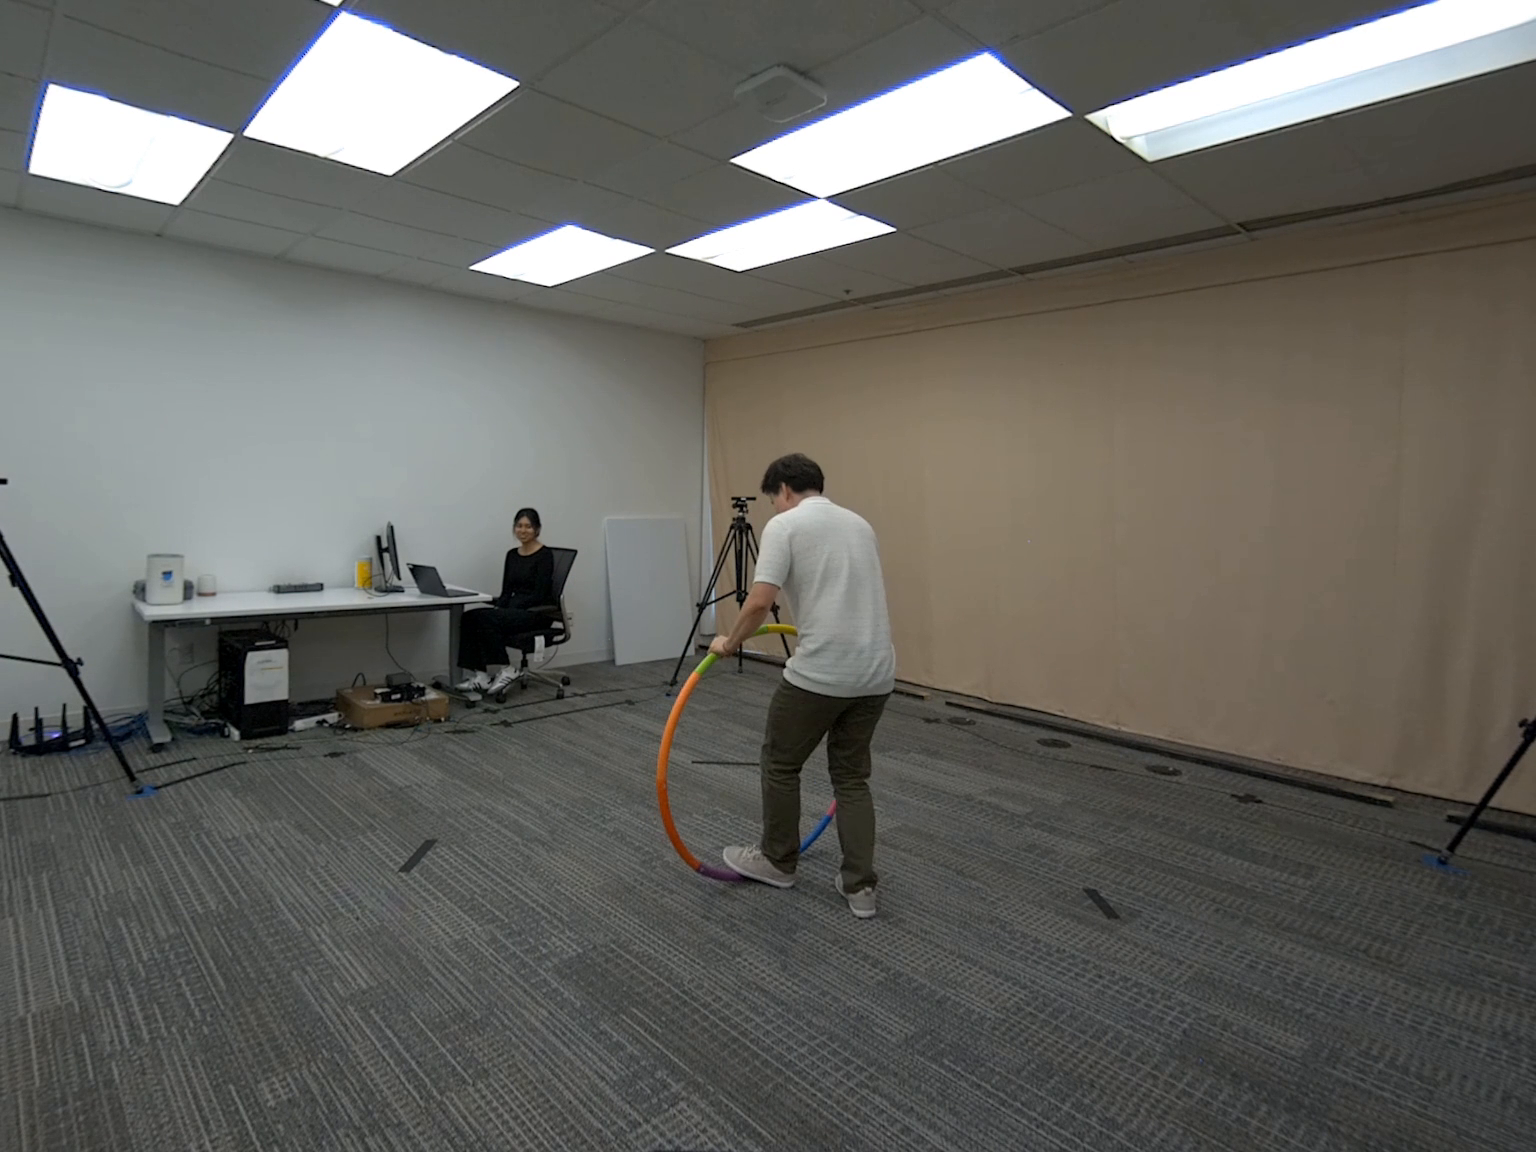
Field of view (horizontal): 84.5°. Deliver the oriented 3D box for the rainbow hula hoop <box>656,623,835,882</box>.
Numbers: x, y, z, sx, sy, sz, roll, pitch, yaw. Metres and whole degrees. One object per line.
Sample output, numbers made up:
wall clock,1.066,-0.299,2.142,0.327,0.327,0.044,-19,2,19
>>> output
rainbow hula hoop,-0.013,0.650,3.140,0.956,0.977,0.036,-3,2,-45
